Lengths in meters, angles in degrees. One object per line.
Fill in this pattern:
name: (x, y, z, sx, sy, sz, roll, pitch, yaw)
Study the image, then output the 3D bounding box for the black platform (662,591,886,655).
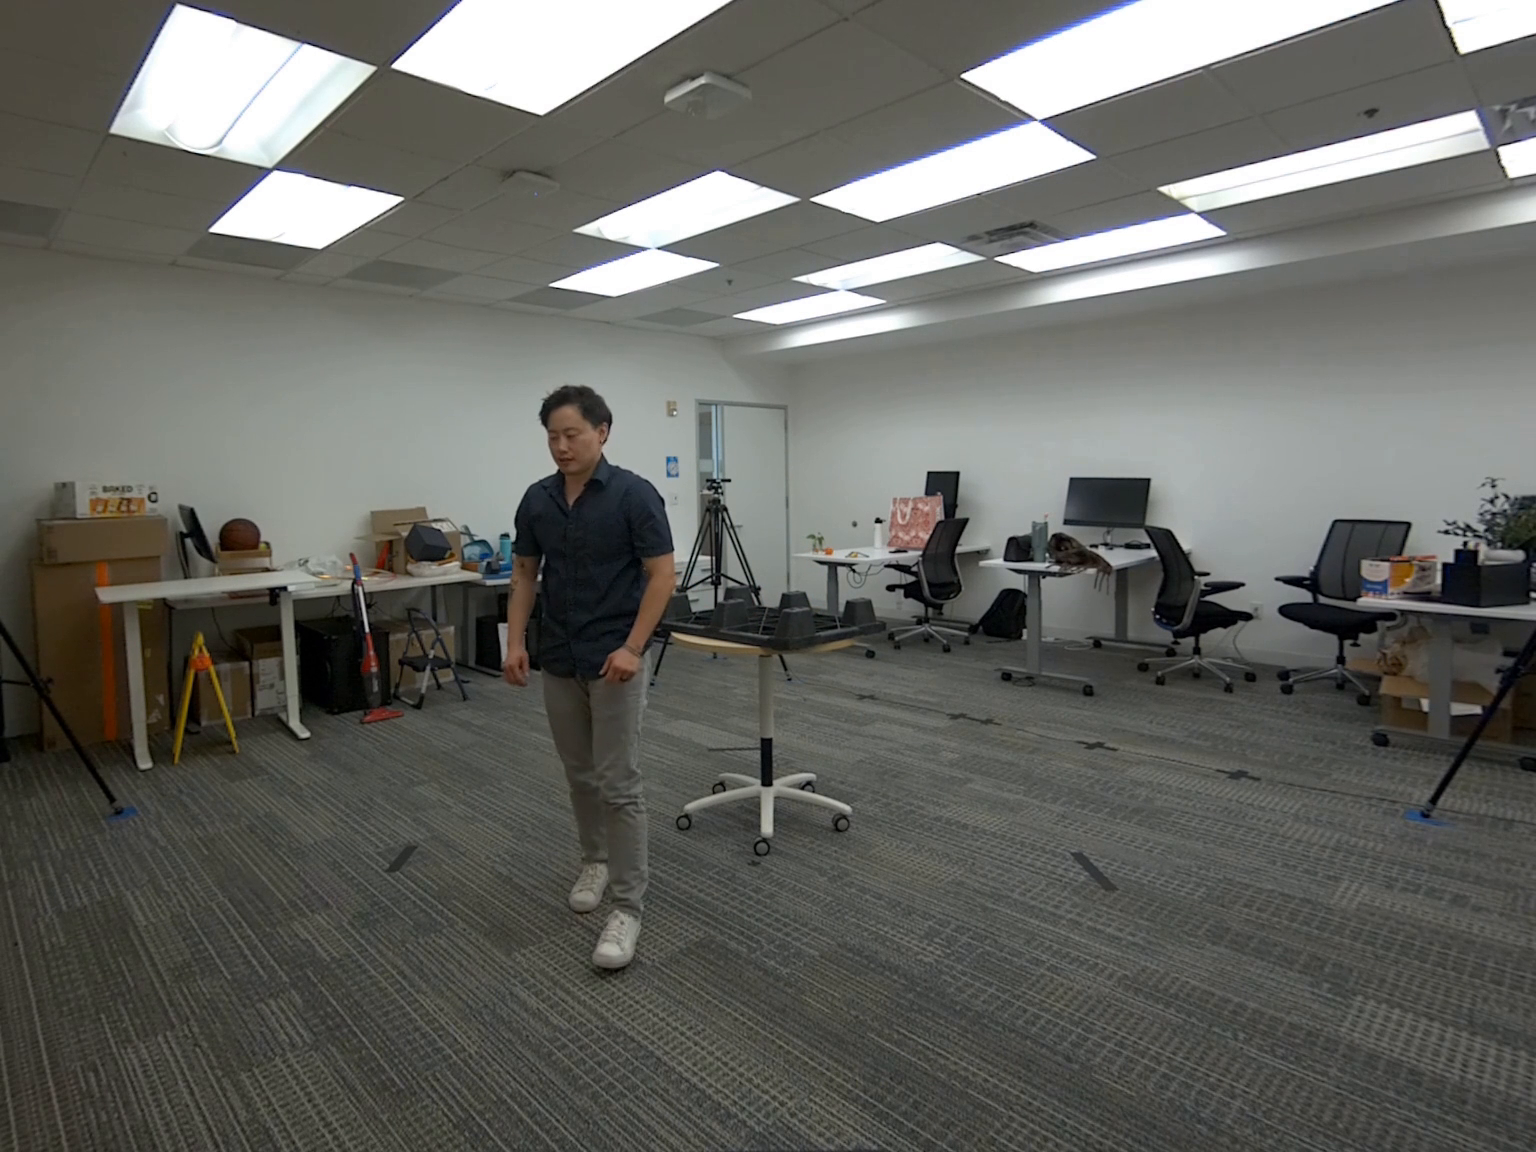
black platform: (-0.009, 0.153, 3.484, 0.589, 0.143, 0.831, -7, 9, -45)
